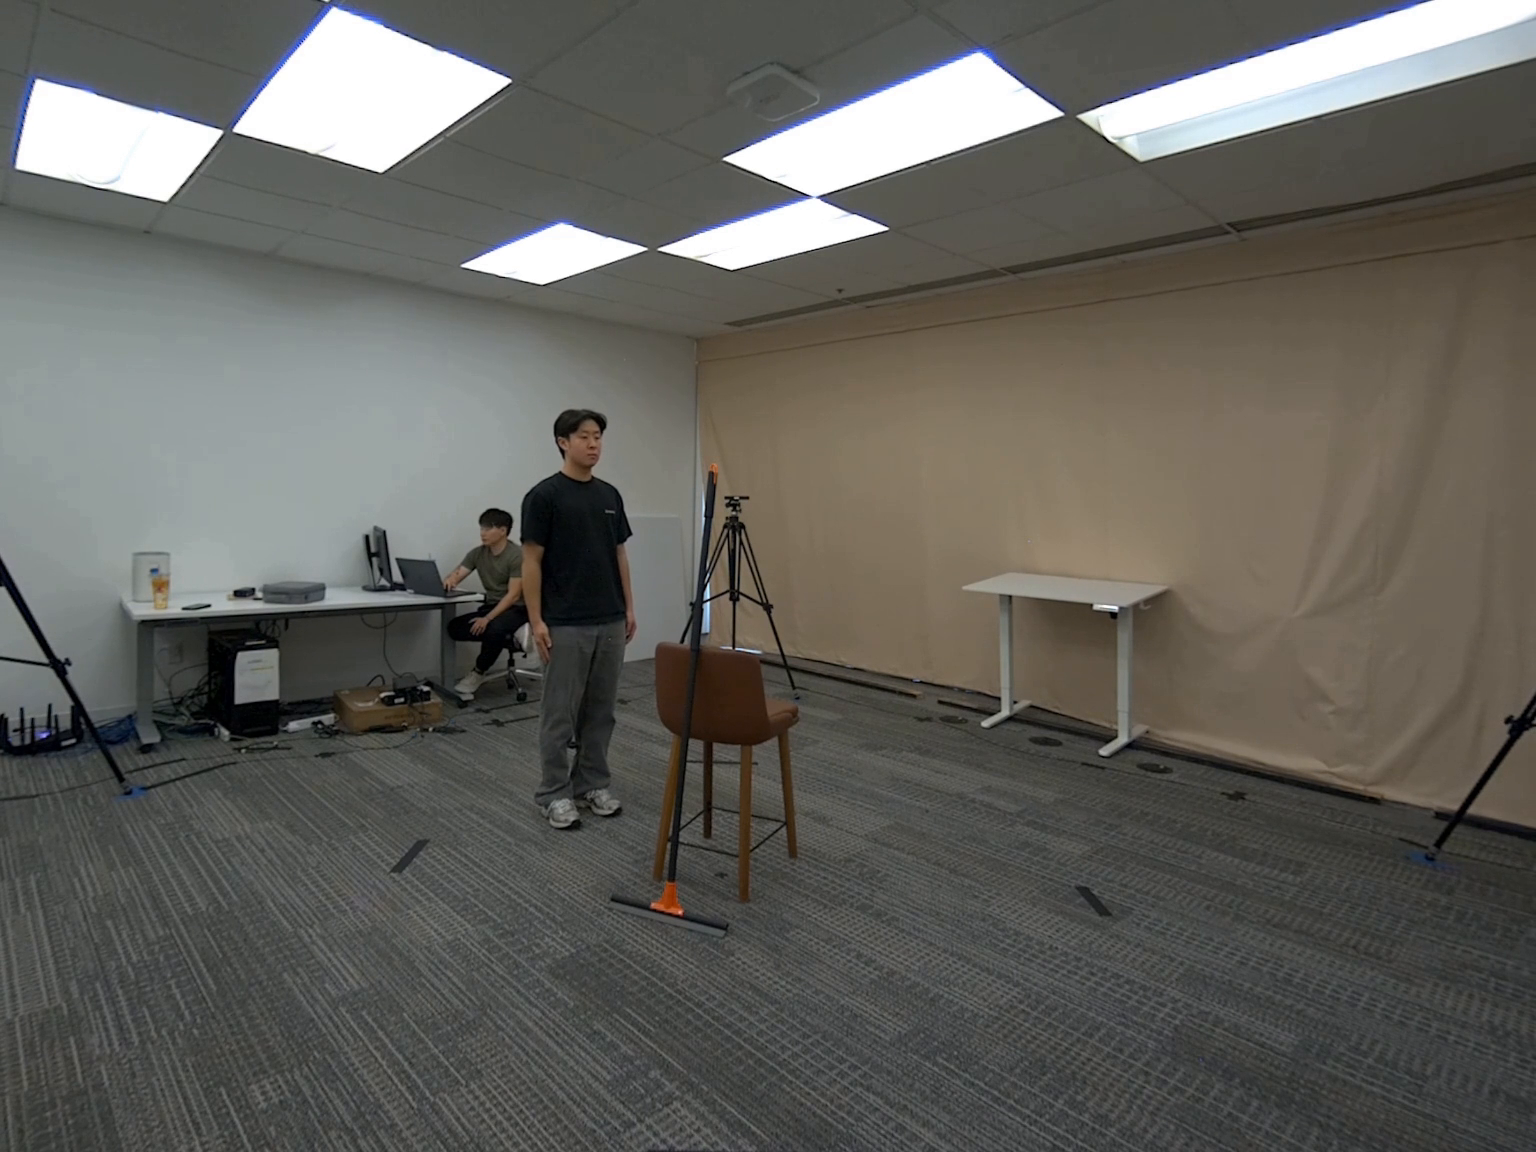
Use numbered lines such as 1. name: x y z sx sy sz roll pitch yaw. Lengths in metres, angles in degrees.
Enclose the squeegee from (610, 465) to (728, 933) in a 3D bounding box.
1. squeegee: -0.261 0.367 2.863 0.445 1.544 0.052 3 -7 21
